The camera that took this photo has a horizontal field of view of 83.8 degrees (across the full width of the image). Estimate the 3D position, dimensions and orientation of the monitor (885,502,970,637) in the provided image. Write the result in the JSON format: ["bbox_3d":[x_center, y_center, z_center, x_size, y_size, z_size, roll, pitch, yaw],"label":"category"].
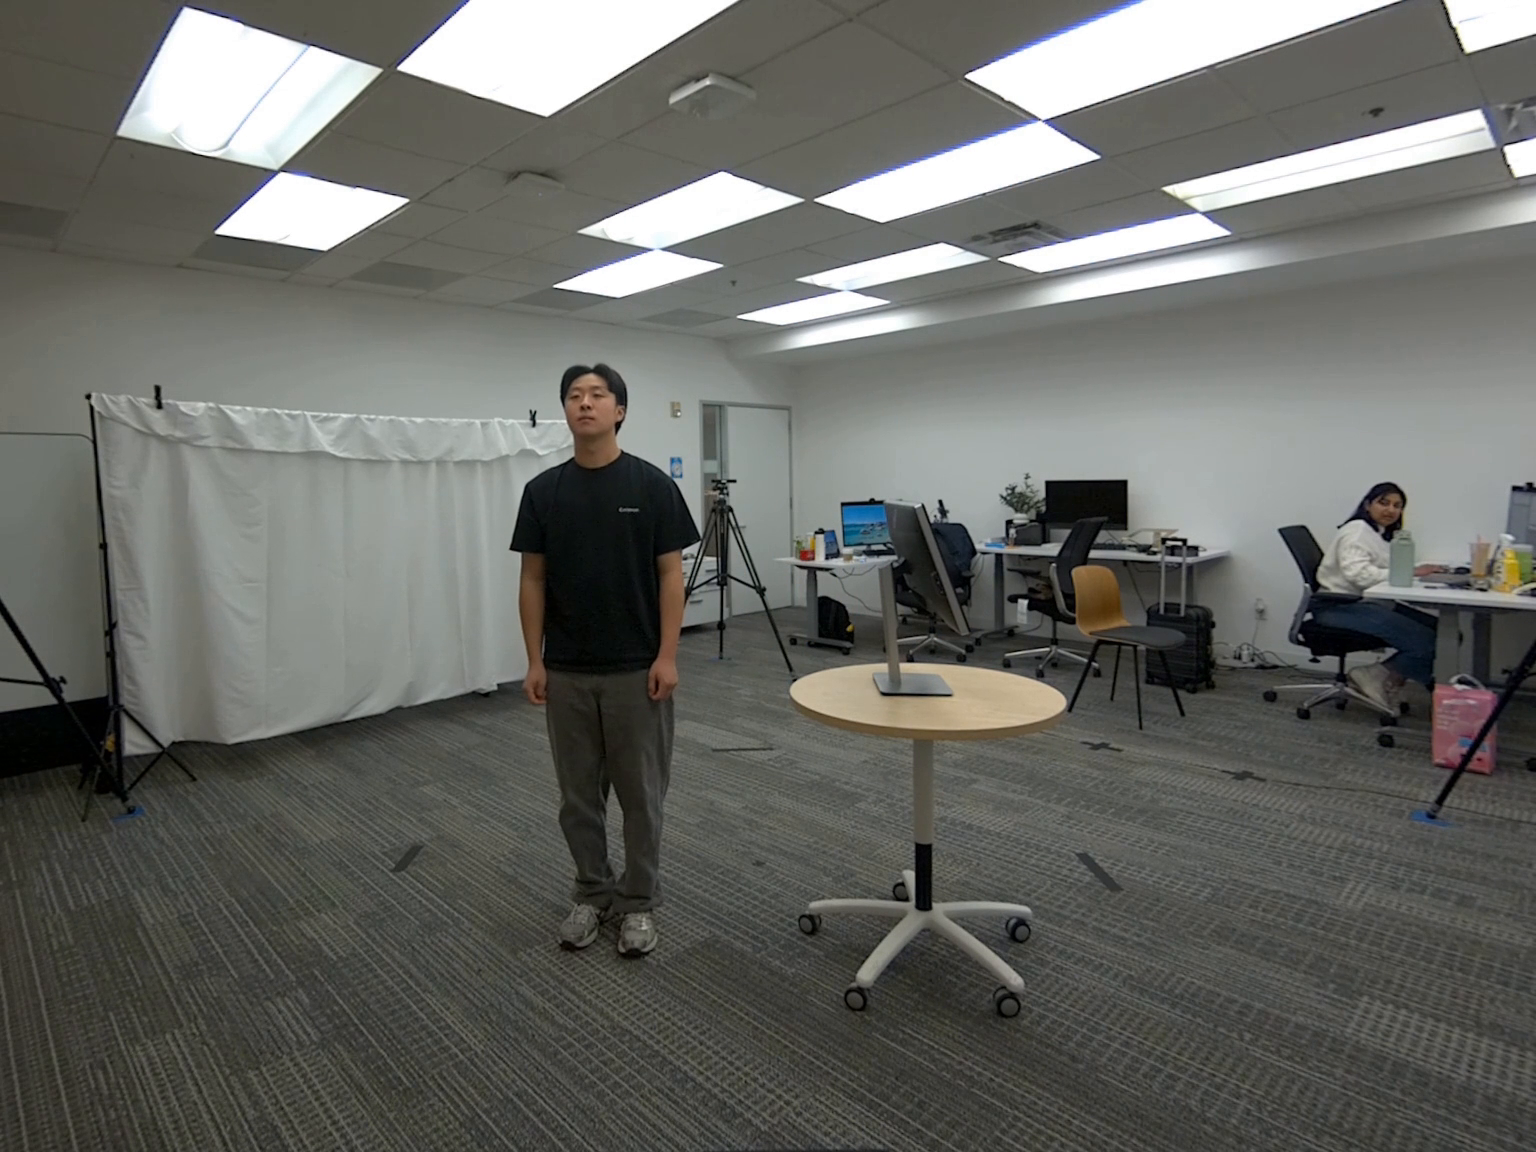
[{"bbox_3d":[0.422,0.059,2.508,0.223,0.564,0.562,-1,5,3],"label":"monitor"}]
